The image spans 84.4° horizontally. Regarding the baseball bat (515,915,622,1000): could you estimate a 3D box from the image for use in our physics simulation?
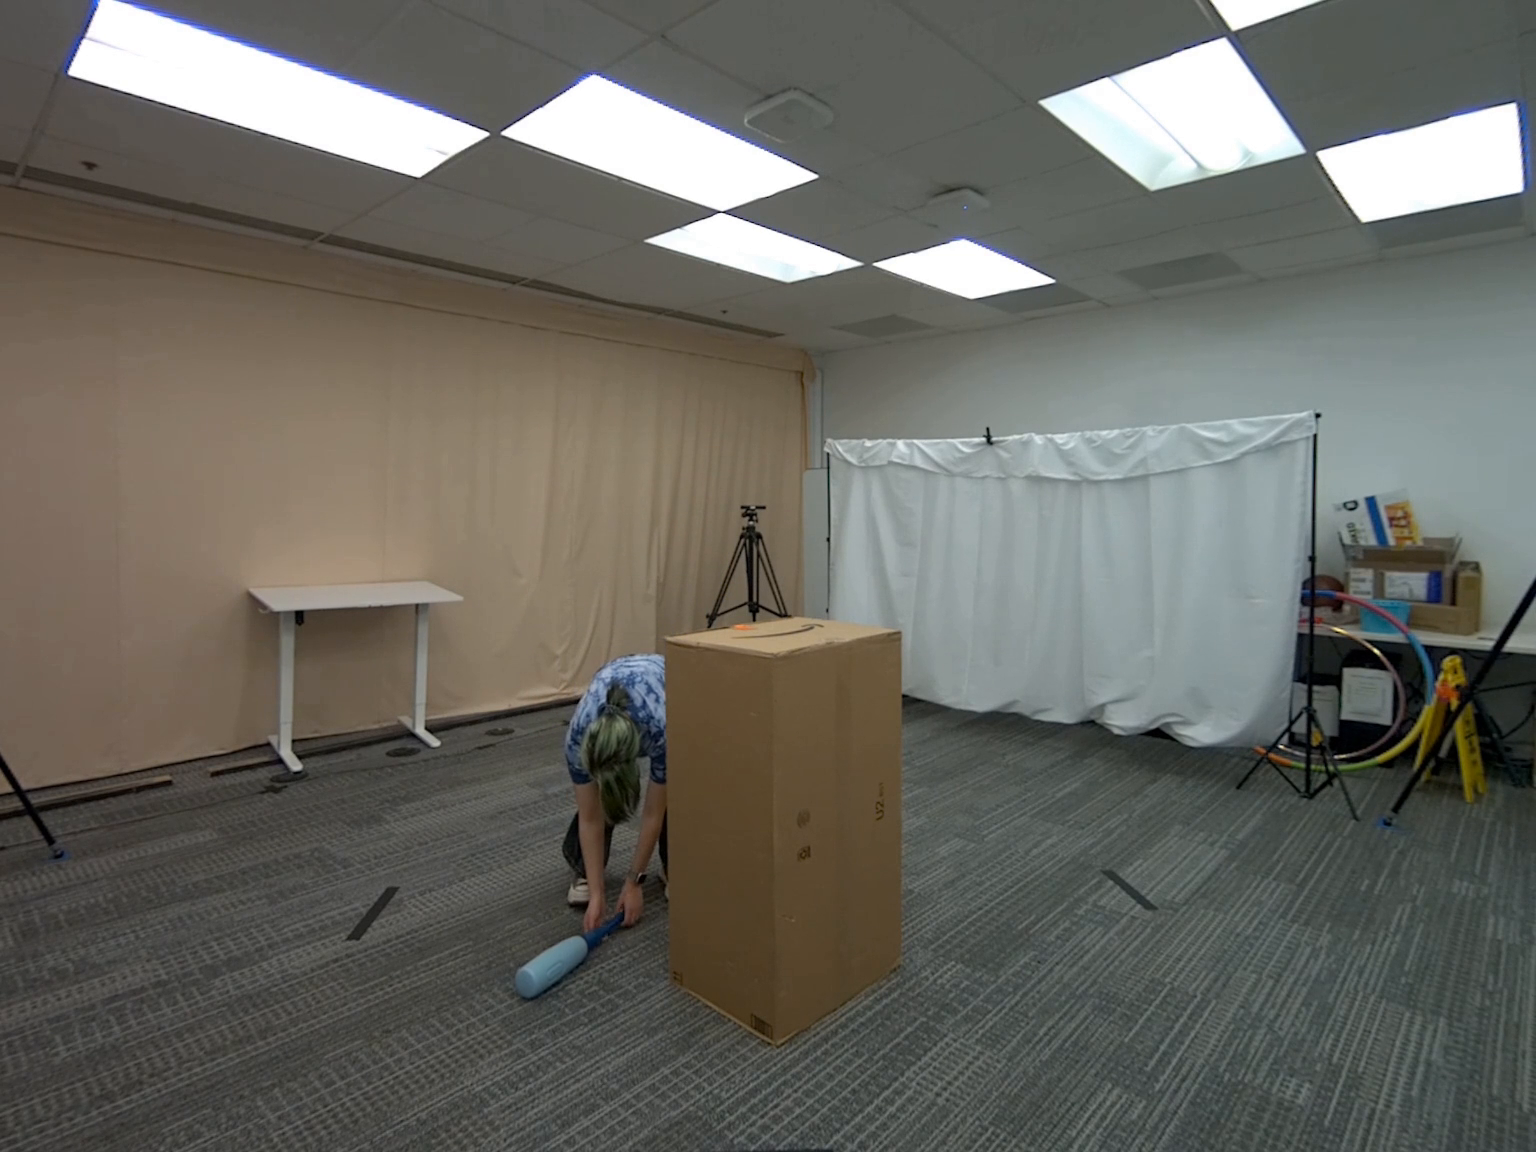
[{"bbox_3d":[-0.564,1.137,2.606,0.091,0.089,0.529,2,3,26],"label":"baseball bat"}]
